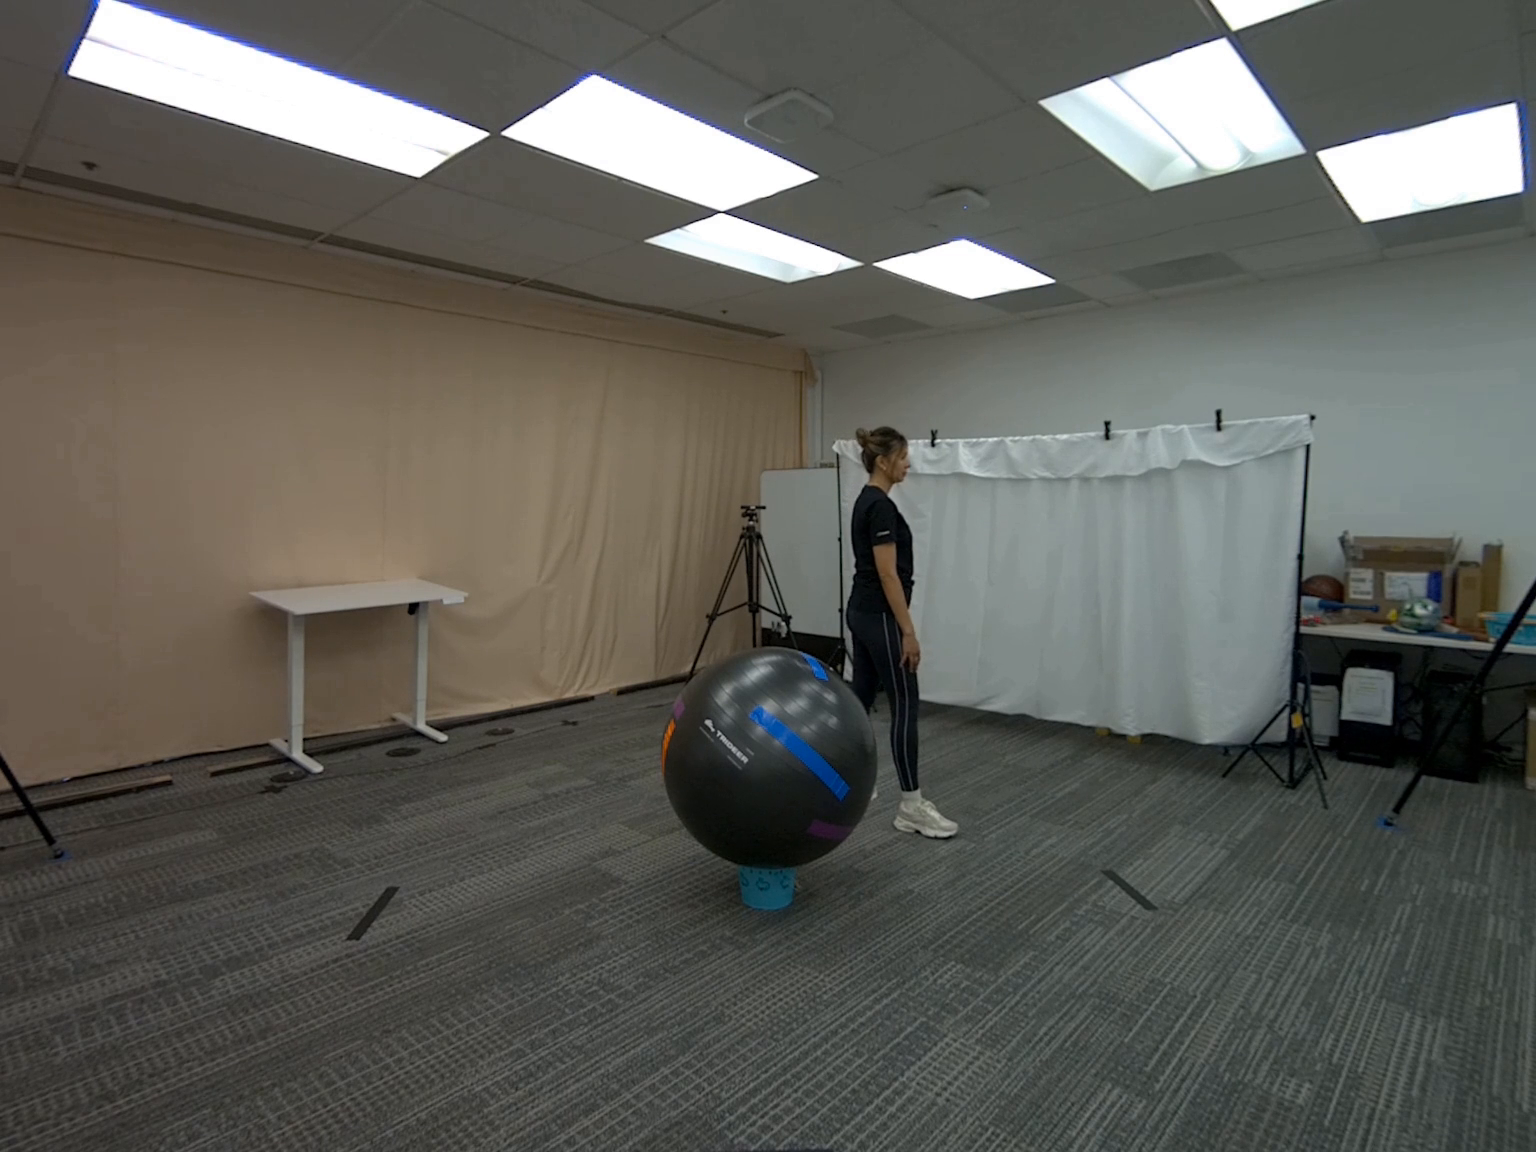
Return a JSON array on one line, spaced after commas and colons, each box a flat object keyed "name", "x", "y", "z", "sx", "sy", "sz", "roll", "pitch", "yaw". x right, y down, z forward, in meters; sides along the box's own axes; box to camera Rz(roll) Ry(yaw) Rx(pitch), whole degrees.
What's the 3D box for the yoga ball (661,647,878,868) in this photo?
[{"name": "yoga ball", "x": 0.006, "y": 0.634, "z": 2.965, "sx": 0.757, "sy": 0.756, "sz": 0.760, "roll": 0, "pitch": 4, "yaw": -2}]
